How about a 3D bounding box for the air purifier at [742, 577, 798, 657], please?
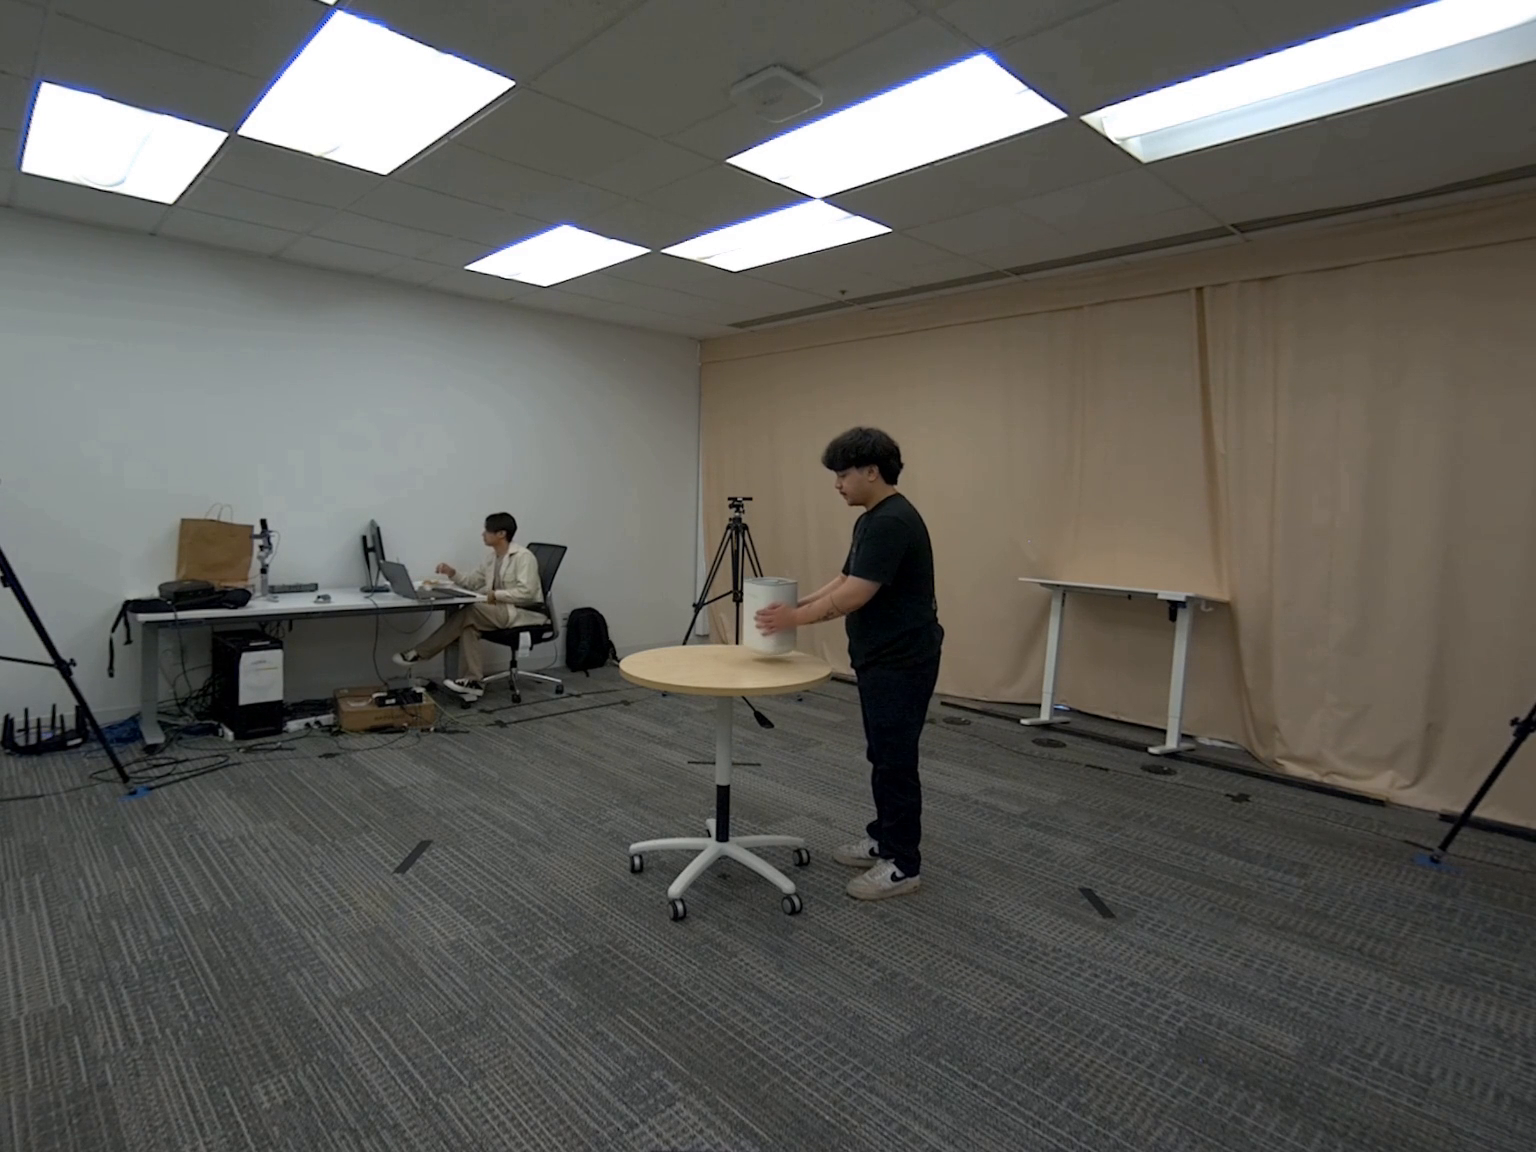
[{"bbox_3d":[0.010,0.145,3.108,0.168,0.264,0.175,-4,7,-44],"label":"air purifier"}]
